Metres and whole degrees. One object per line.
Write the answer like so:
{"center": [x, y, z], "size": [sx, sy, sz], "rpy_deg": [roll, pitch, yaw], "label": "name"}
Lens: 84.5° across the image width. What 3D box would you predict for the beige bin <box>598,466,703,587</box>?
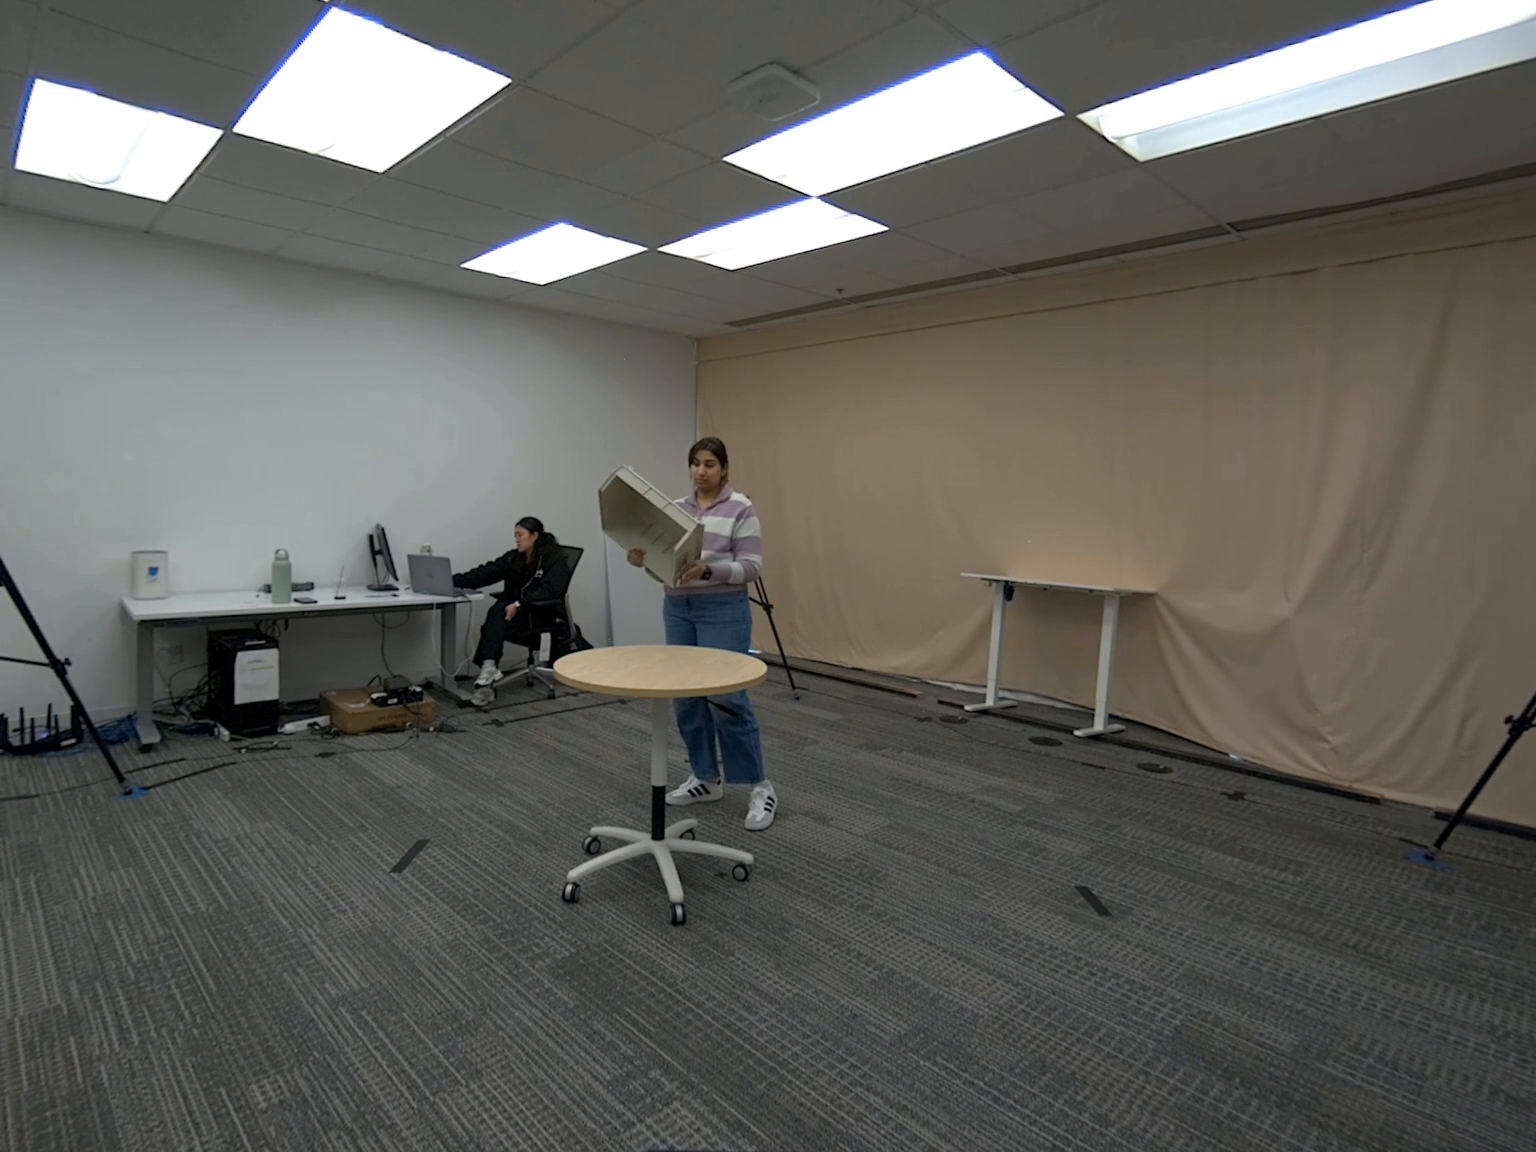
{"center": [-0.490, -0.211, 3.492], "size": [0.429, 0.189, 0.372], "rpy_deg": [38, -25, 13], "label": "beige bin"}
